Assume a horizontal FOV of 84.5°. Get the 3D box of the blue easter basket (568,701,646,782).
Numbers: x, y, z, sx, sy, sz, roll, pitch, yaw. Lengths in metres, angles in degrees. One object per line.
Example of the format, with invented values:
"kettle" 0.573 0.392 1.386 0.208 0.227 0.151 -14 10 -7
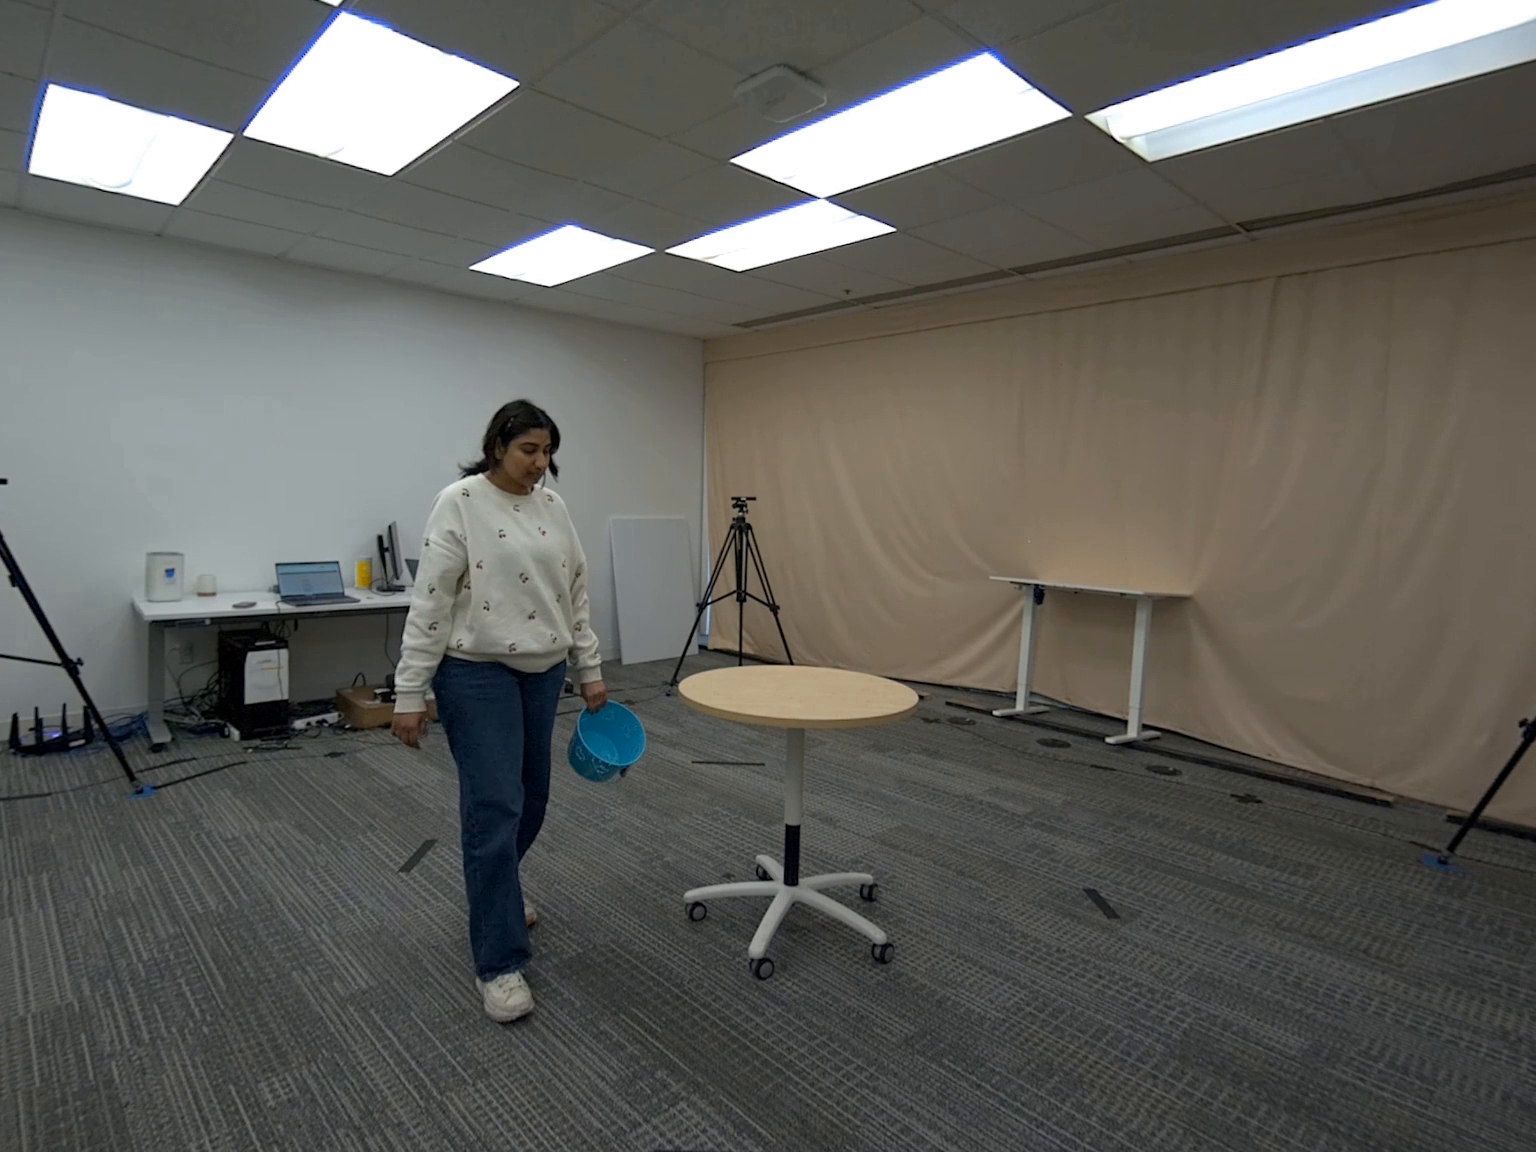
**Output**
"blue easter basket" -0.520 0.539 2.676 0.239 0.155 0.249 23 37 -20
